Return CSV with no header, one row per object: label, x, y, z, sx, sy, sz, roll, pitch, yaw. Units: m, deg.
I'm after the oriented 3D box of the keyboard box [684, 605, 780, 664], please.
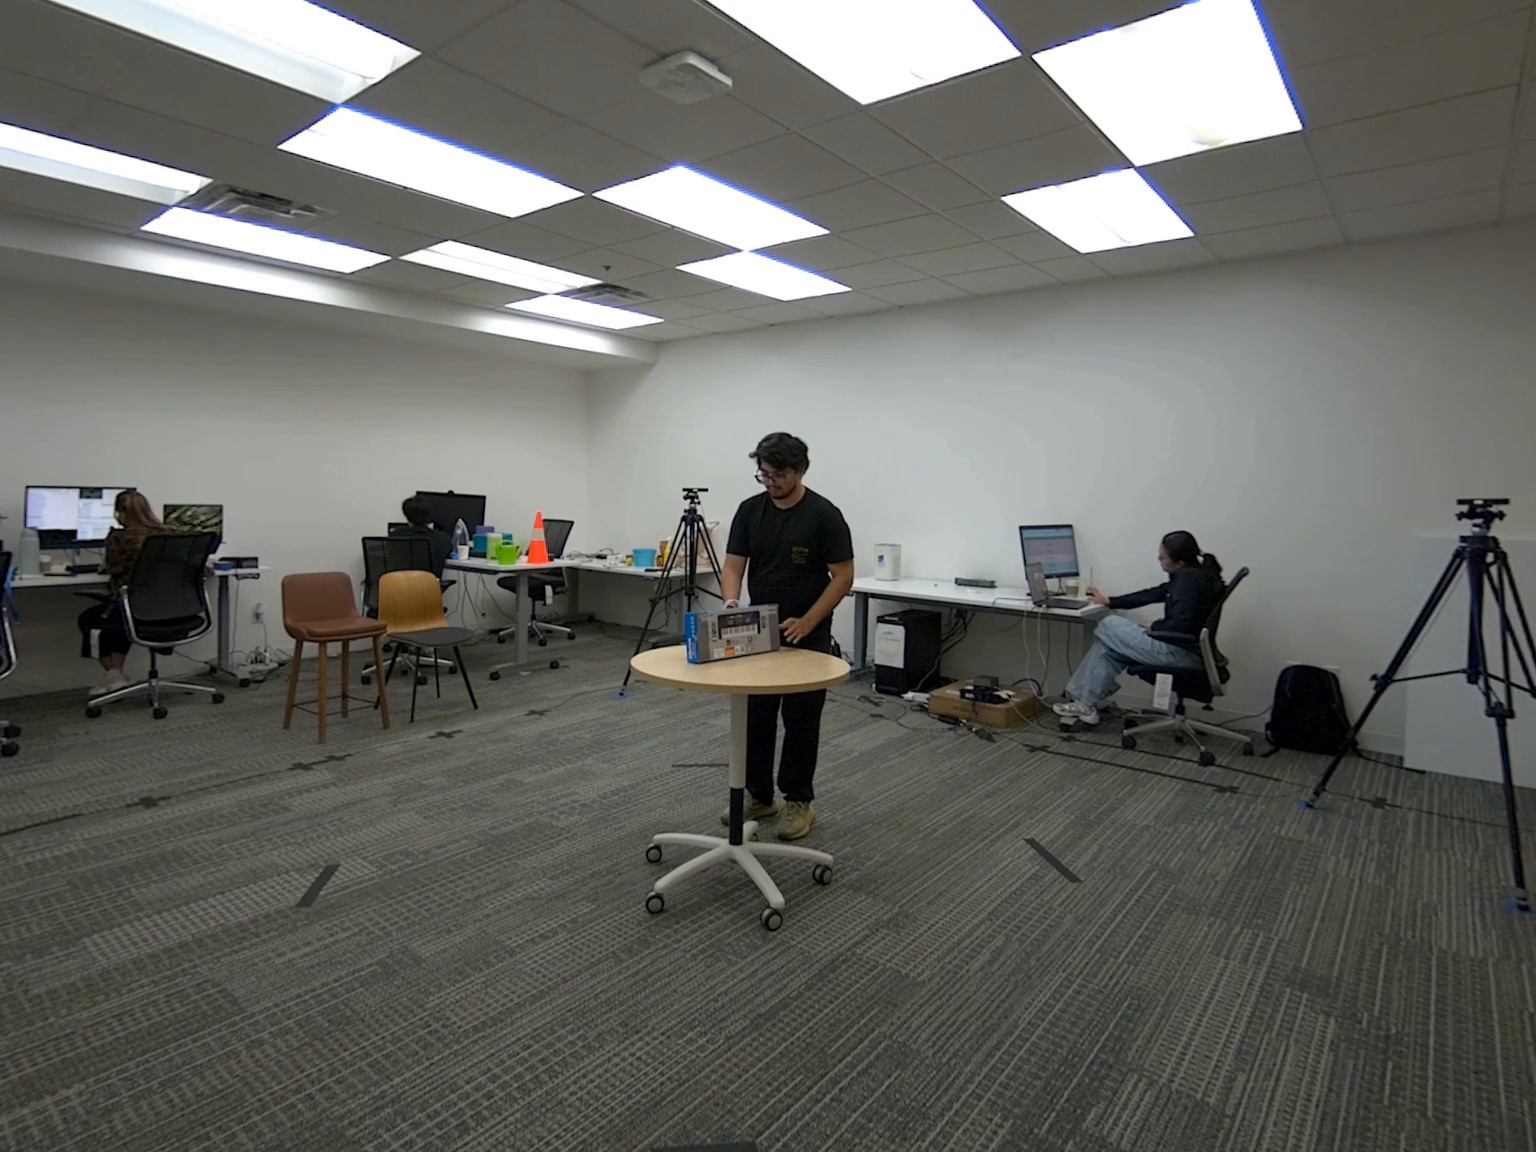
keyboard box,-0.132,0.204,3.092,0.061,0.176,0.423,-3,0,43
